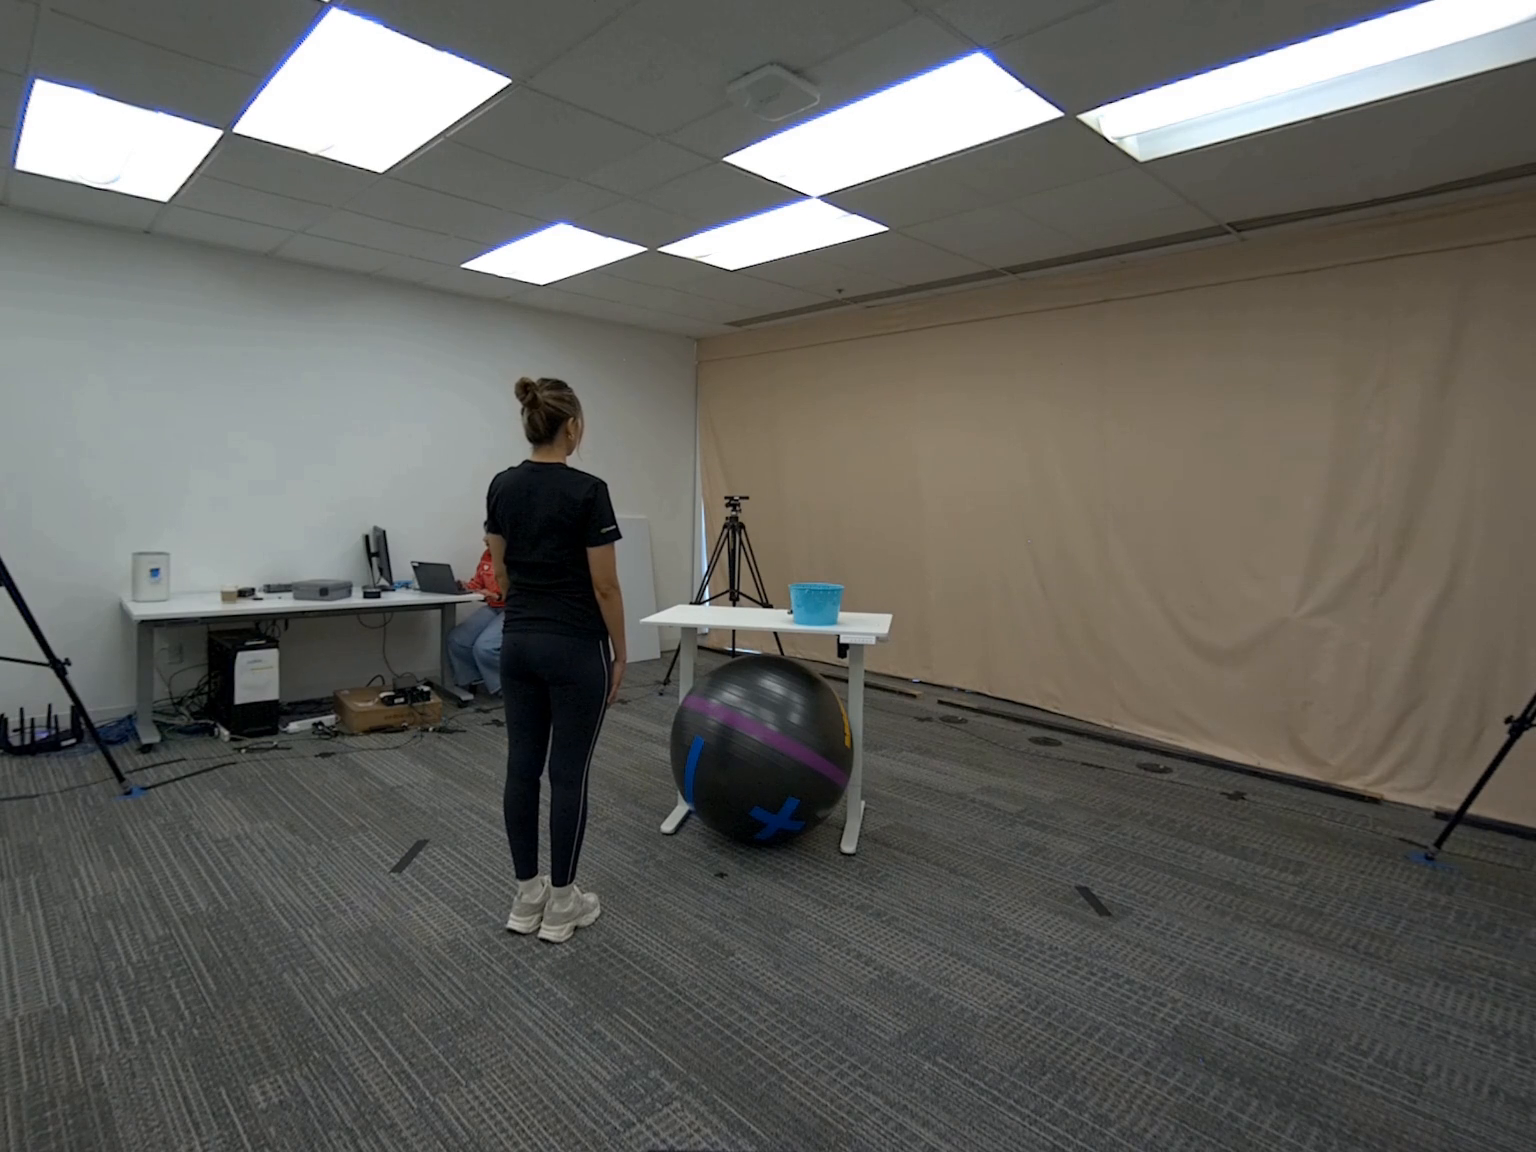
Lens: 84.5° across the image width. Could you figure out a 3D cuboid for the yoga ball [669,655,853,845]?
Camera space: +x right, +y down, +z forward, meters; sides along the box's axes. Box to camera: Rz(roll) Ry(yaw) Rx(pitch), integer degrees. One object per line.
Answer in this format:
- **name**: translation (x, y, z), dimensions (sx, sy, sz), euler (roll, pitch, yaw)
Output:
- **yoga ball**: translation (-0.028, 0.723, 3.475), dimensions (0.757, 0.756, 0.761), euler (1, 4, -1)
